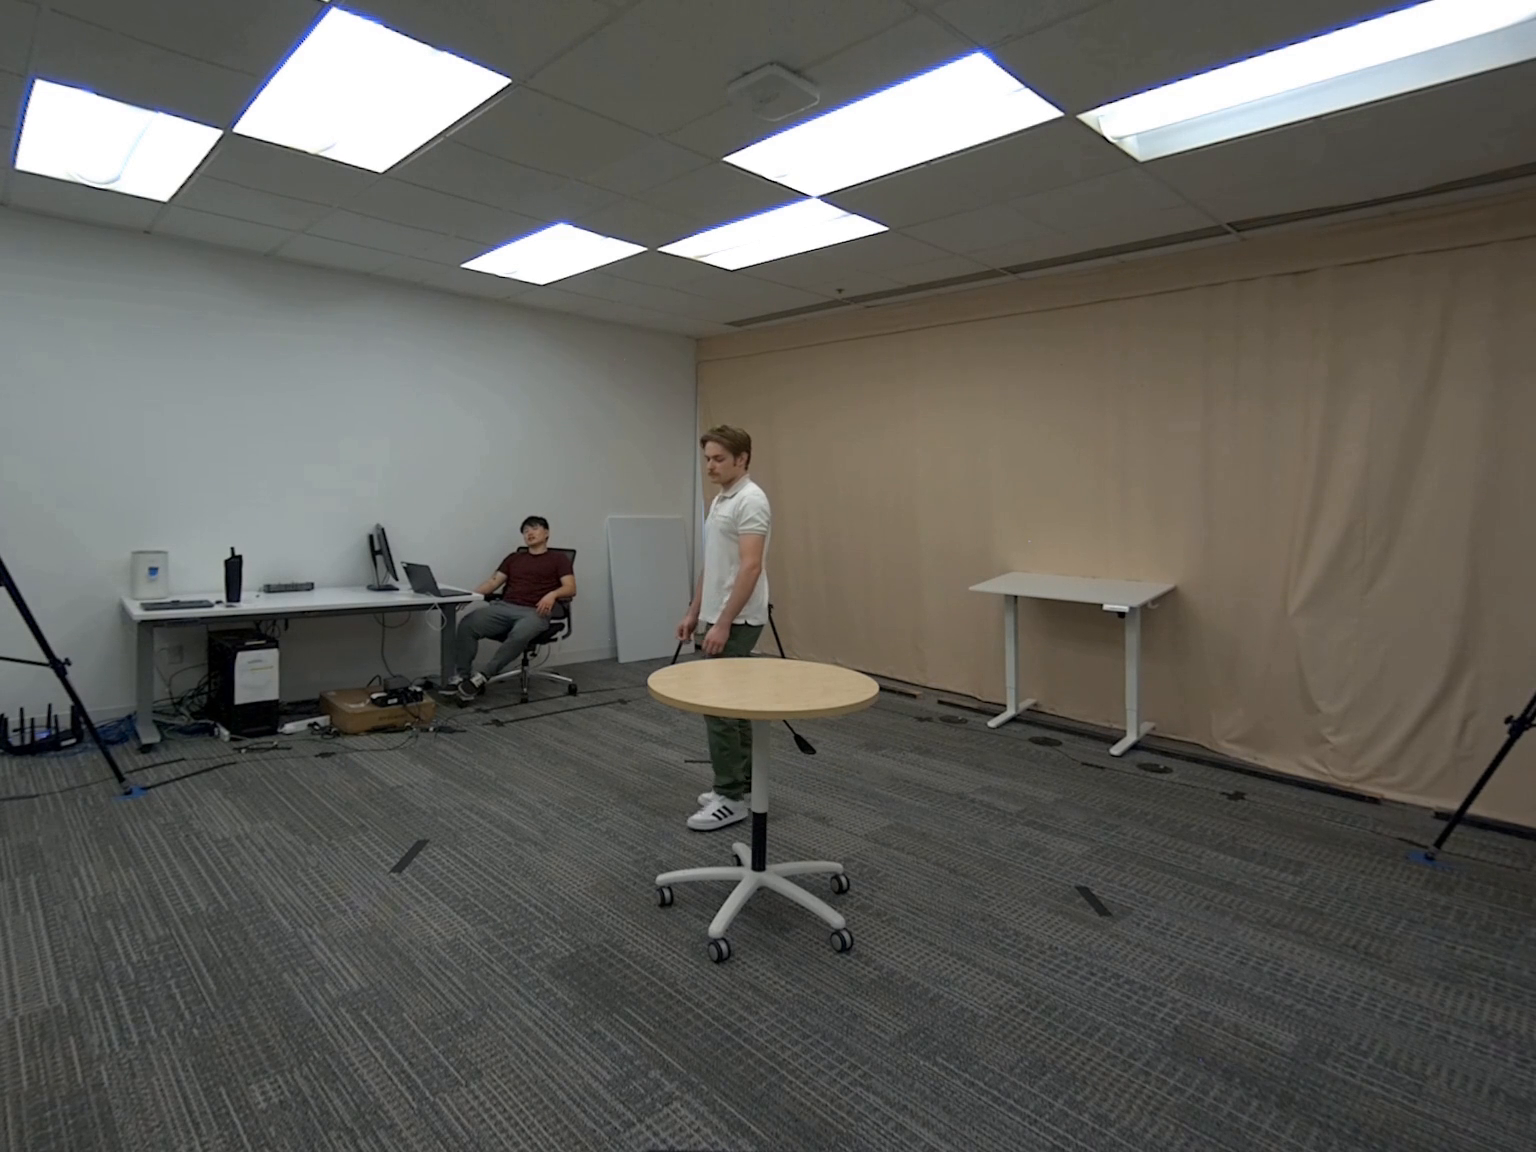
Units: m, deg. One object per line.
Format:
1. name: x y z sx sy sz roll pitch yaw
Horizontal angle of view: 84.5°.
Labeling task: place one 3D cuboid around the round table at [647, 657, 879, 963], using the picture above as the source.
1. round table: -0.030 0.744 2.824 0.763 0.791 0.767 2 5 -1
